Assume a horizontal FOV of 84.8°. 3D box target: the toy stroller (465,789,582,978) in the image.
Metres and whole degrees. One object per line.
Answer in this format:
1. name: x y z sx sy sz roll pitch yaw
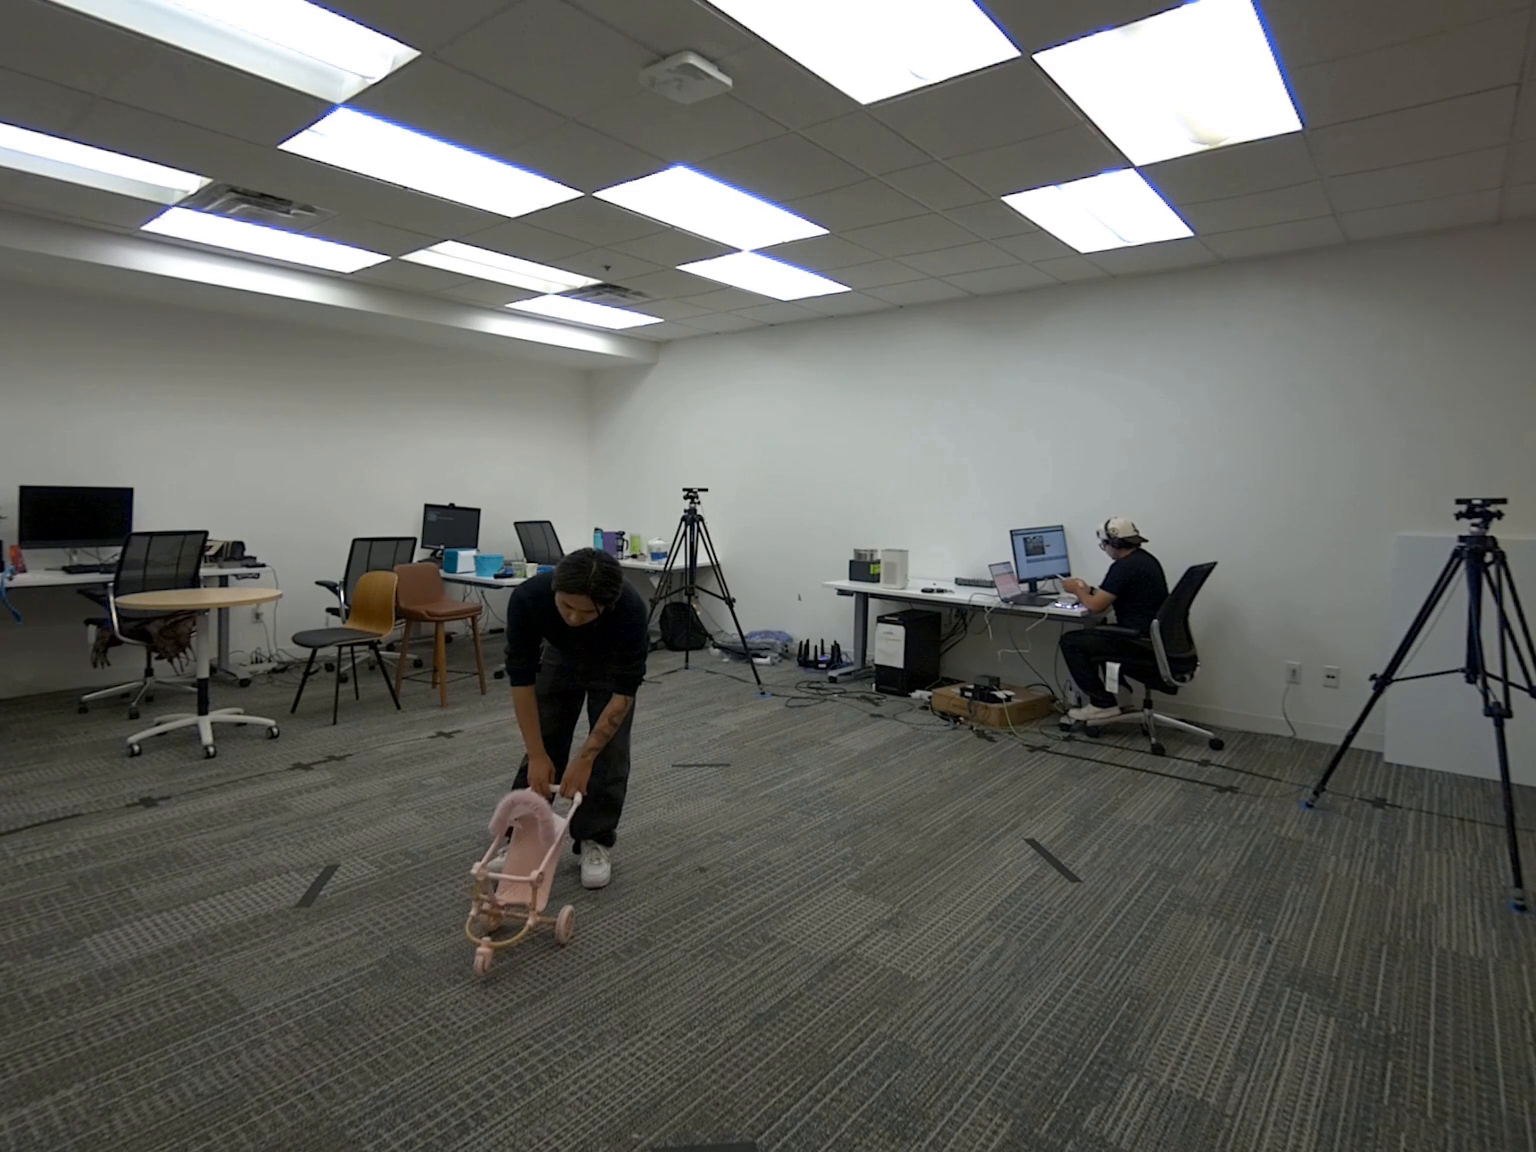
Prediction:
1. toy stroller: -0.761 0.891 2.571 0.287 0.542 0.330 1 -17 17
